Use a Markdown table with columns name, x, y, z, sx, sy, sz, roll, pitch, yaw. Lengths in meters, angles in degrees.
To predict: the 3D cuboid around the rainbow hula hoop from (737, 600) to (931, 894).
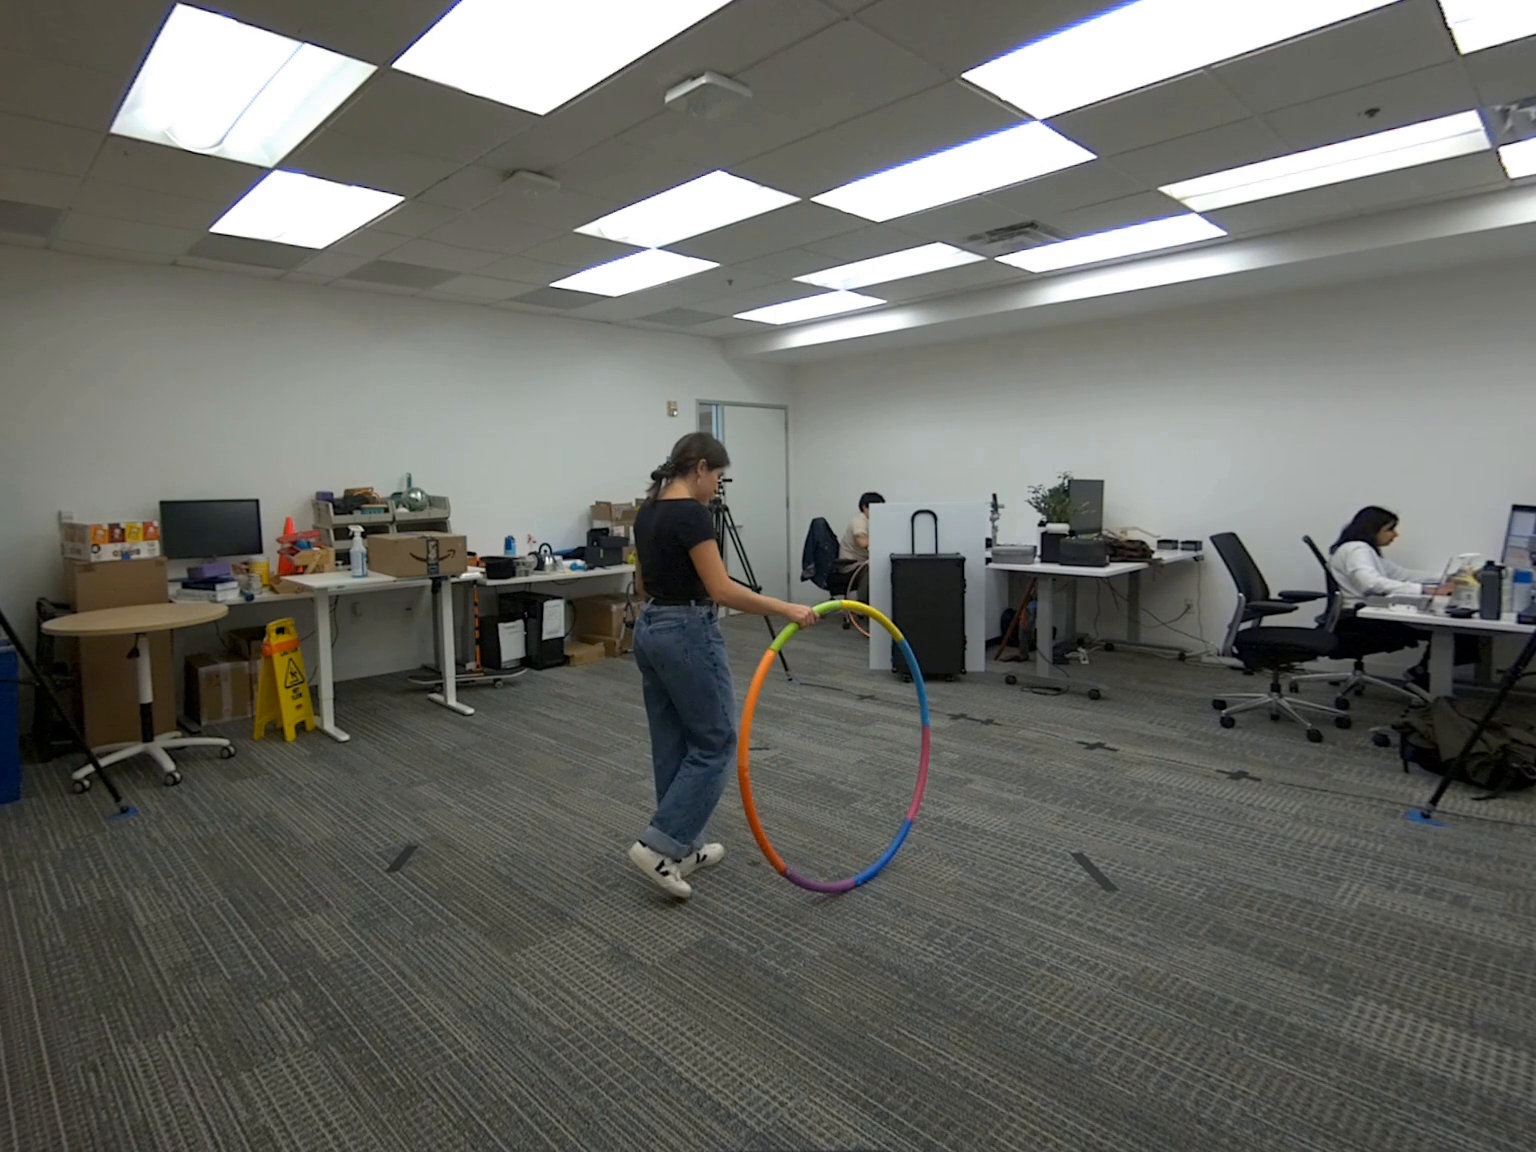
| name | x | y | z | sx | sy | sz | roll | pitch | yaw |
| --- | --- | --- | --- | --- | --- | --- | --- | --- | --- |
| rainbow hula hoop | 0.267 | 0.578 | 2.946 | 0.953 | 0.980 | 0.036 | -6 | -1 | -44 |
